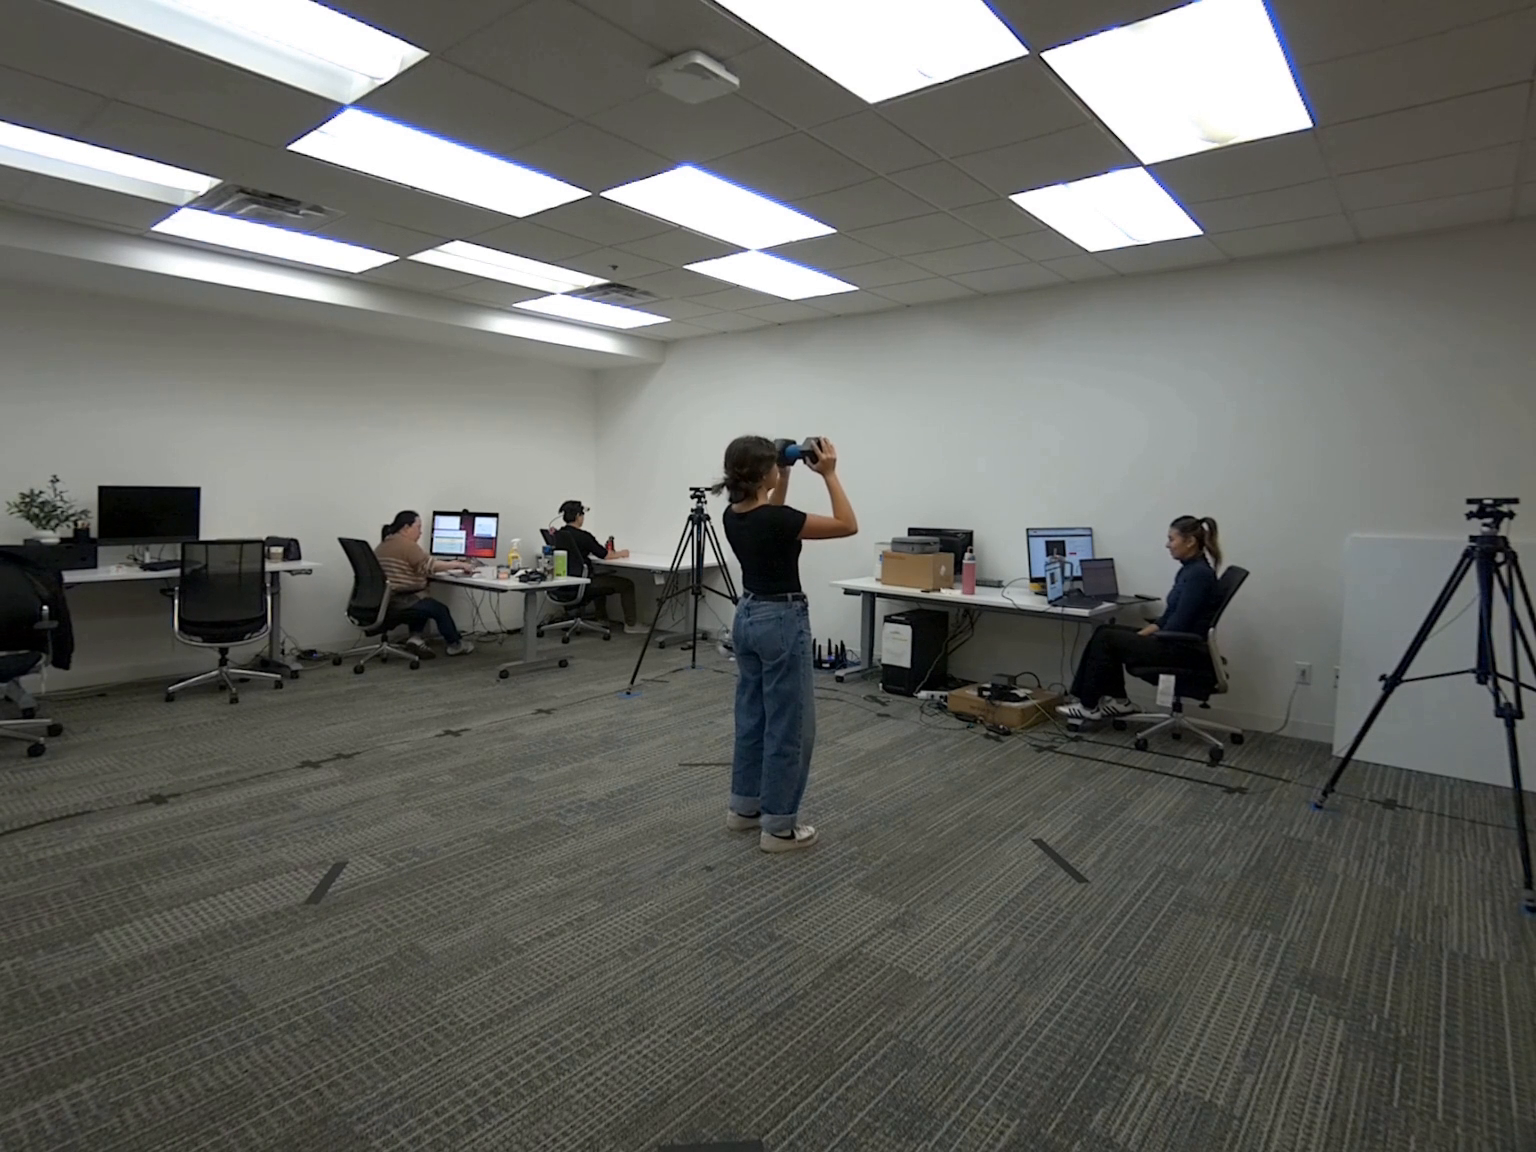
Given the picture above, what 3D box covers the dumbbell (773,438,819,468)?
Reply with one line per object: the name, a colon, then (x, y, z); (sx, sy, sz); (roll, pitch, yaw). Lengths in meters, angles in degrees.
dumbbell: (0.111, -0.497, 3.371); (0.105, 0.123, 0.303); (38, -15, -29)
